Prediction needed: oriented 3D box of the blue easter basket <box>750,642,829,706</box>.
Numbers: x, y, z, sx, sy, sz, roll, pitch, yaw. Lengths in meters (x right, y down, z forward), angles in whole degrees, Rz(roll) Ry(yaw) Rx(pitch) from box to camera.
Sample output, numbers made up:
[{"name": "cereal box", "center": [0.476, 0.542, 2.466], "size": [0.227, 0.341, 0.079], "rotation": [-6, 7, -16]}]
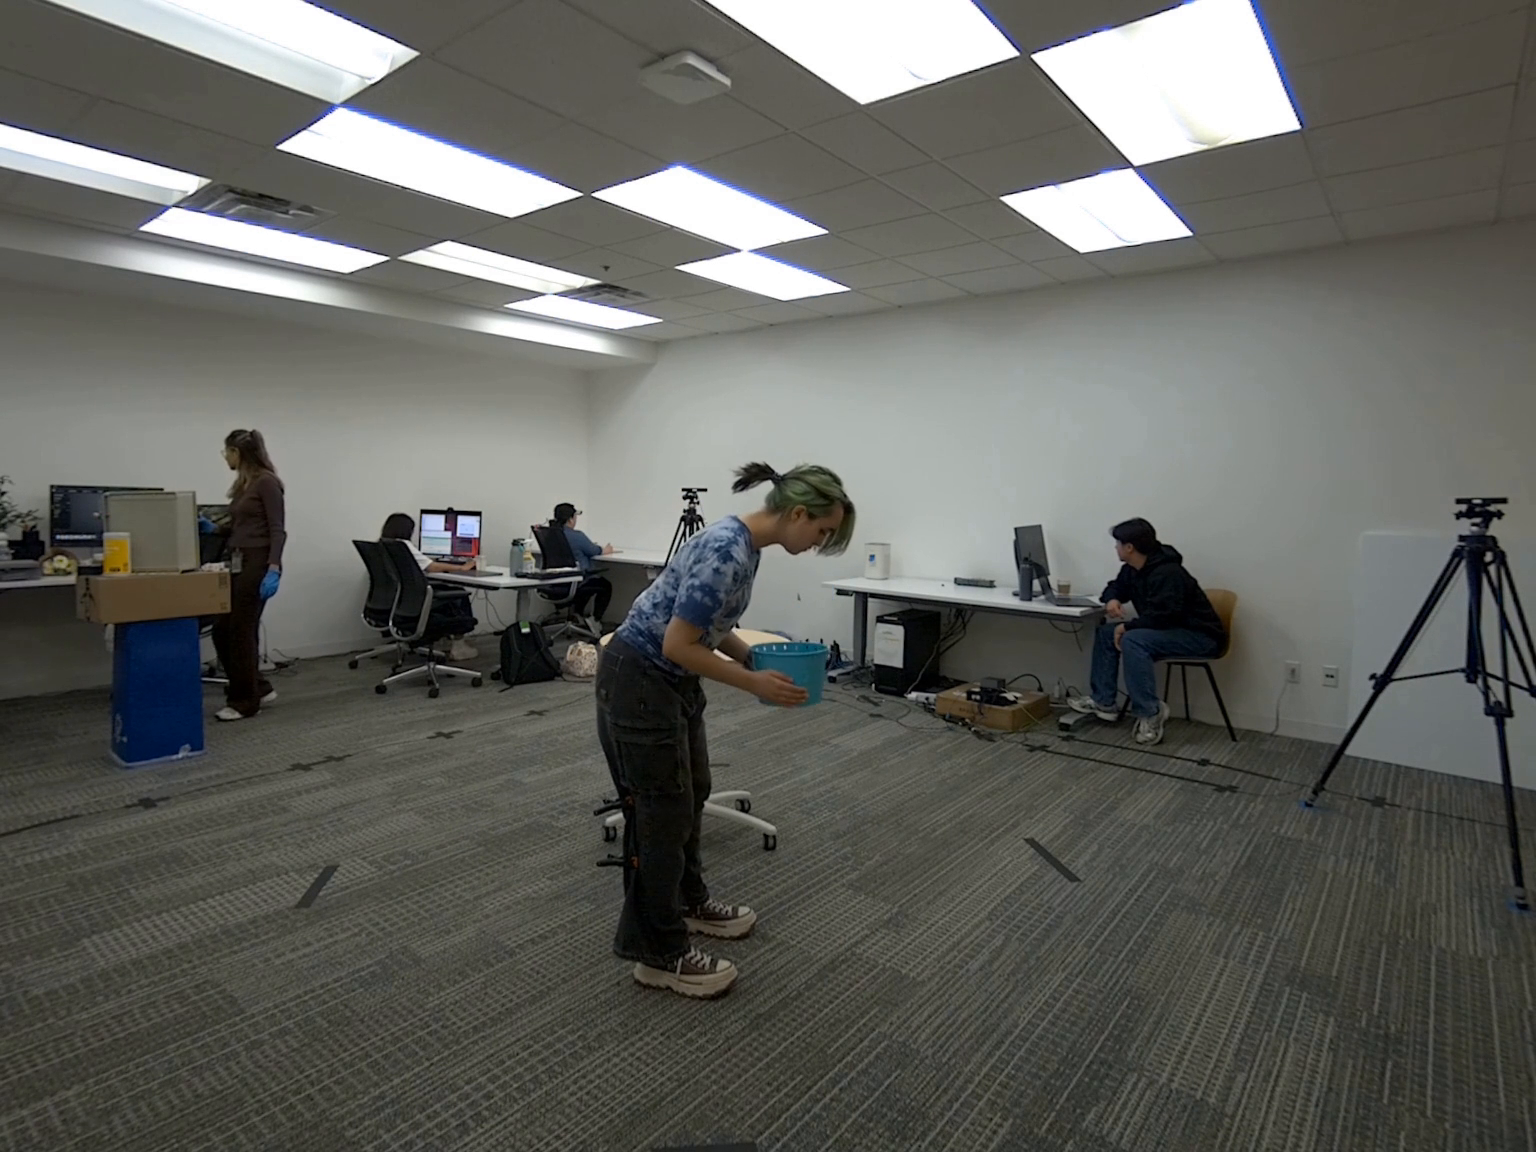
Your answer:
[{"name": "blue easter basket", "center": [0.058, 0.283, 2.418], "size": [0.243, 0.155, 0.244], "rotation": [-1, 3, -2]}]
